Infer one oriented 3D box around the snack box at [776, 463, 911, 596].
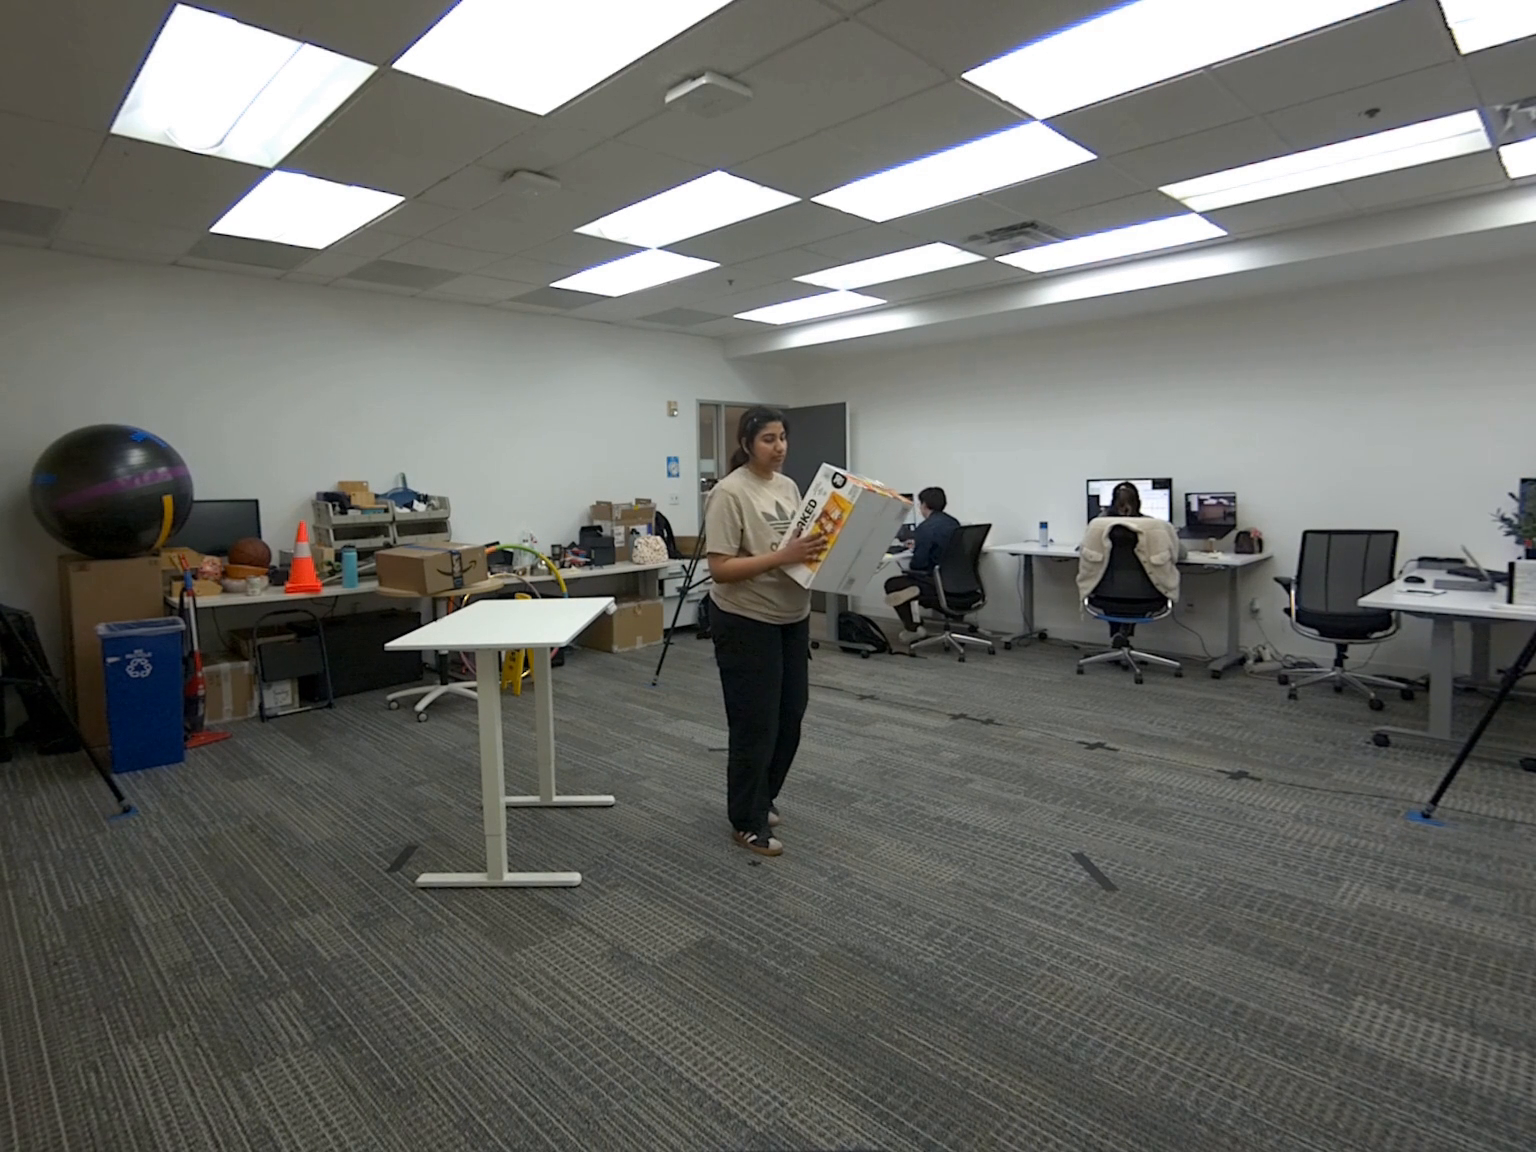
[{"bbox_3d":[0.274,-0.155,3.112,0.329,0.403,0.214,11,21,-48],"label":"snack box"}]
